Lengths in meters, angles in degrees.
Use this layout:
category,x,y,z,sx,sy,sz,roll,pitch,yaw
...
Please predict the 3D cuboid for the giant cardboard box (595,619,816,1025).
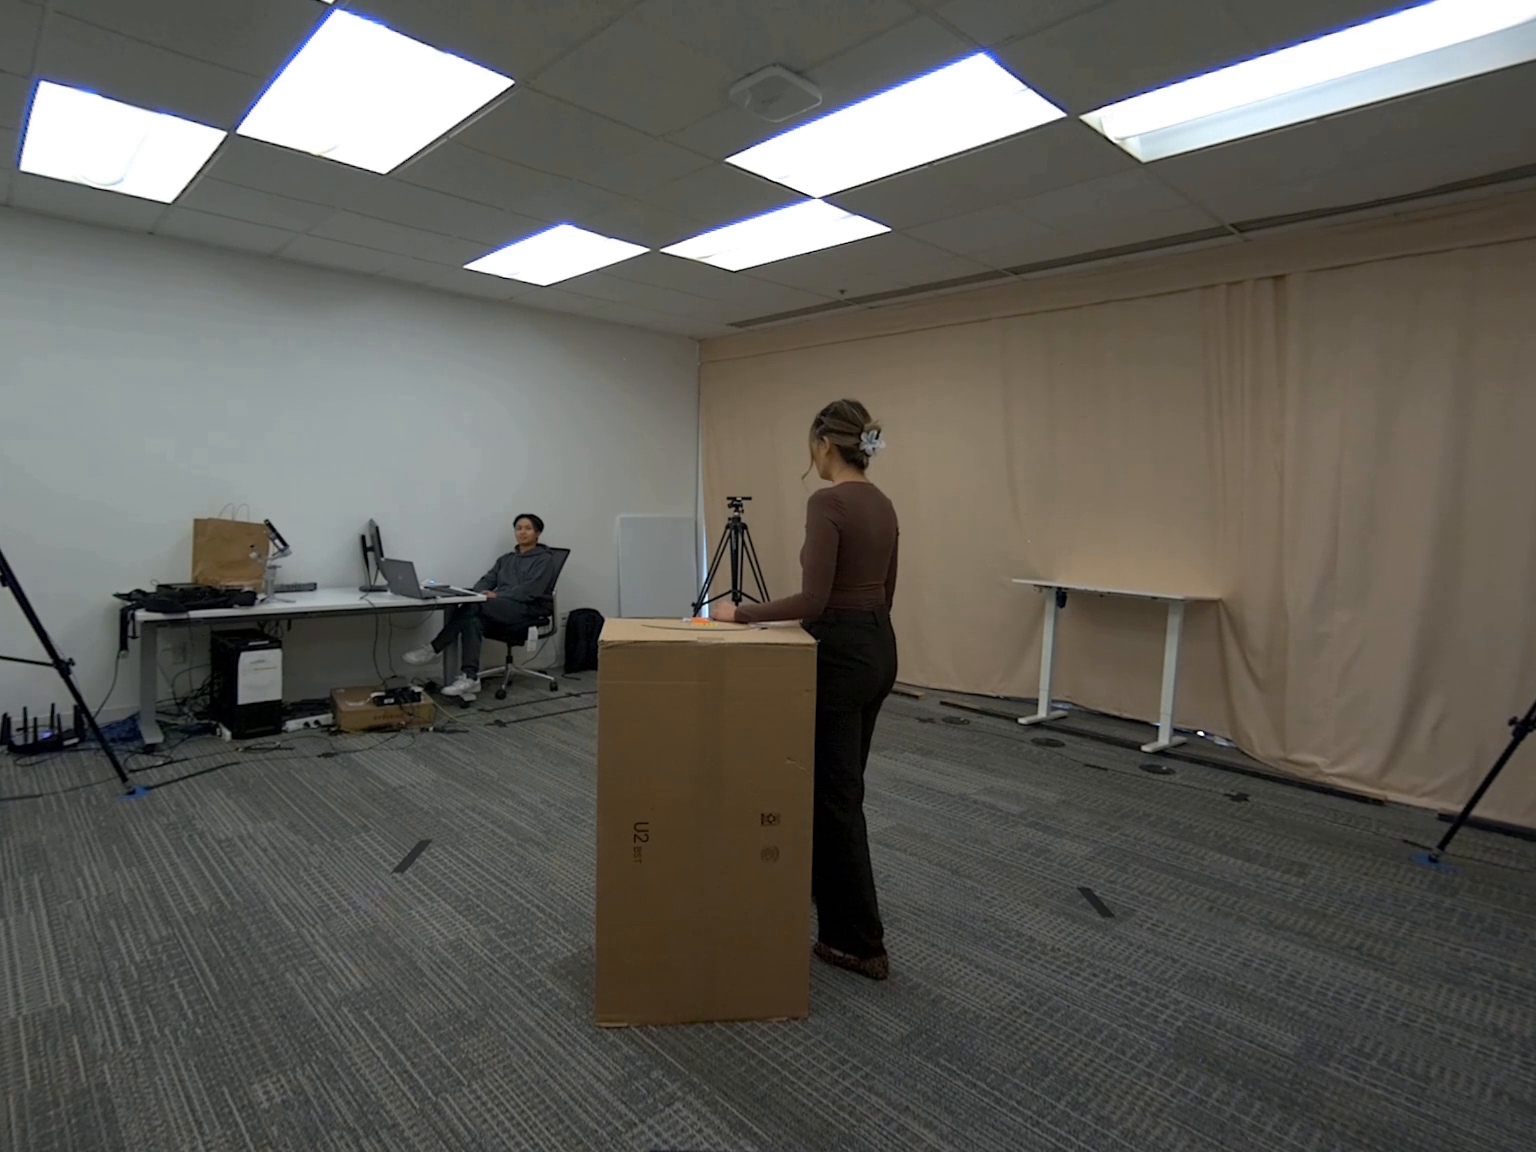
category,x,y,z,sx,sy,sz,roll,pitch,yaw
giant cardboard box,-0.203,0.662,2.411,0.580,1.024,0.450,1,4,-7
